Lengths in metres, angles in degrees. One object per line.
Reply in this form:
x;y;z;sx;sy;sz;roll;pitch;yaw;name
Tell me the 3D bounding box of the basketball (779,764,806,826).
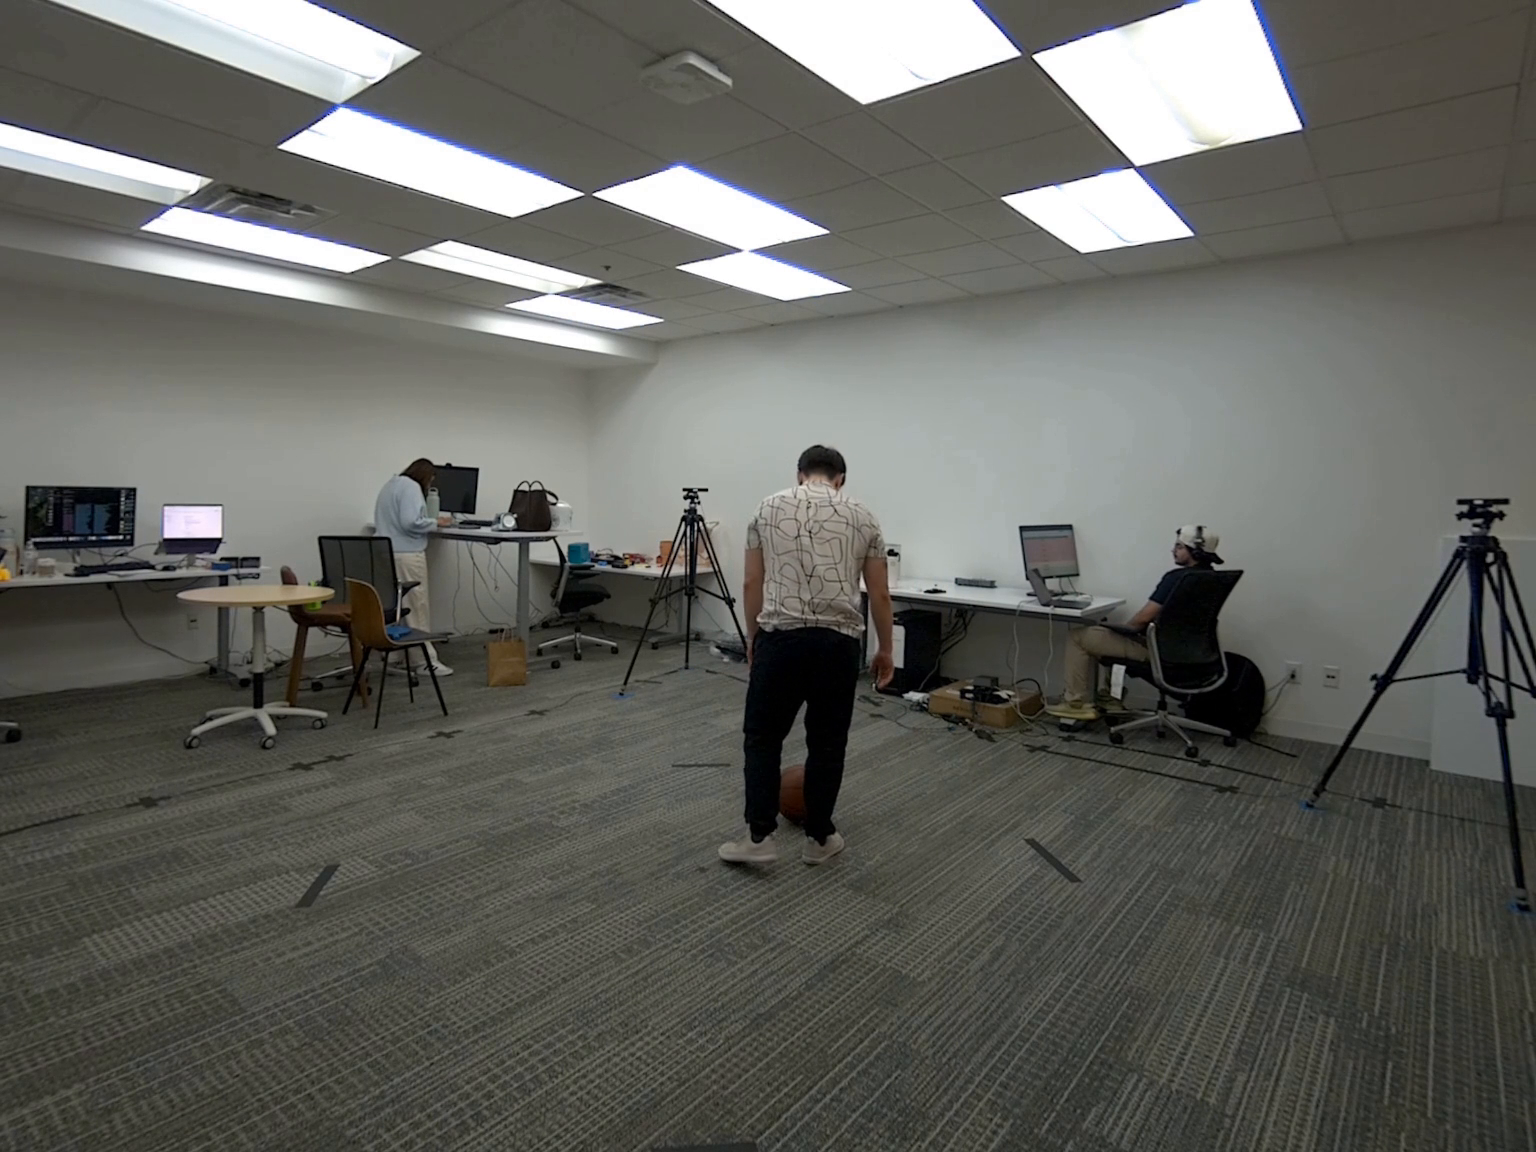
0.132;0.907;3.573;0.235;0.235;0.237;1;4;-2;basketball
